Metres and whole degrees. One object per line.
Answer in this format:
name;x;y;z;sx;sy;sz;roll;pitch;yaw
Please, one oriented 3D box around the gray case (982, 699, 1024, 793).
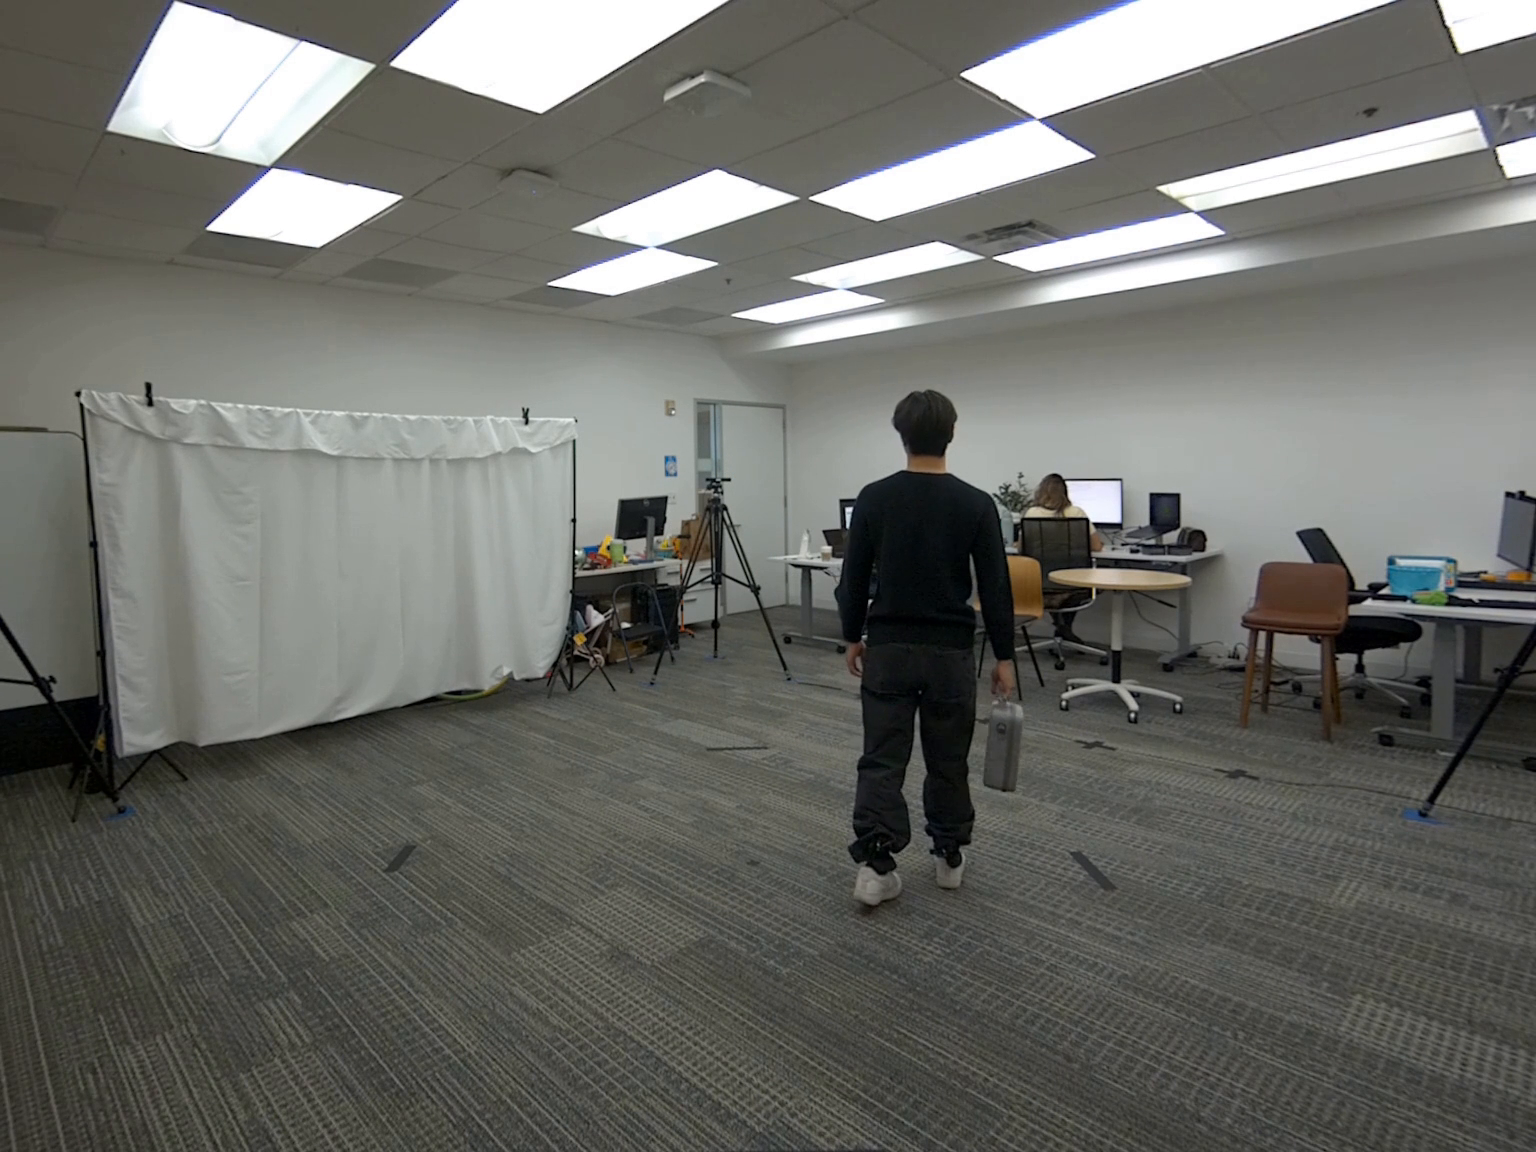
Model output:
gray case;0.759;0.548;2.814;0.106;0.260;0.252;7;2;19
